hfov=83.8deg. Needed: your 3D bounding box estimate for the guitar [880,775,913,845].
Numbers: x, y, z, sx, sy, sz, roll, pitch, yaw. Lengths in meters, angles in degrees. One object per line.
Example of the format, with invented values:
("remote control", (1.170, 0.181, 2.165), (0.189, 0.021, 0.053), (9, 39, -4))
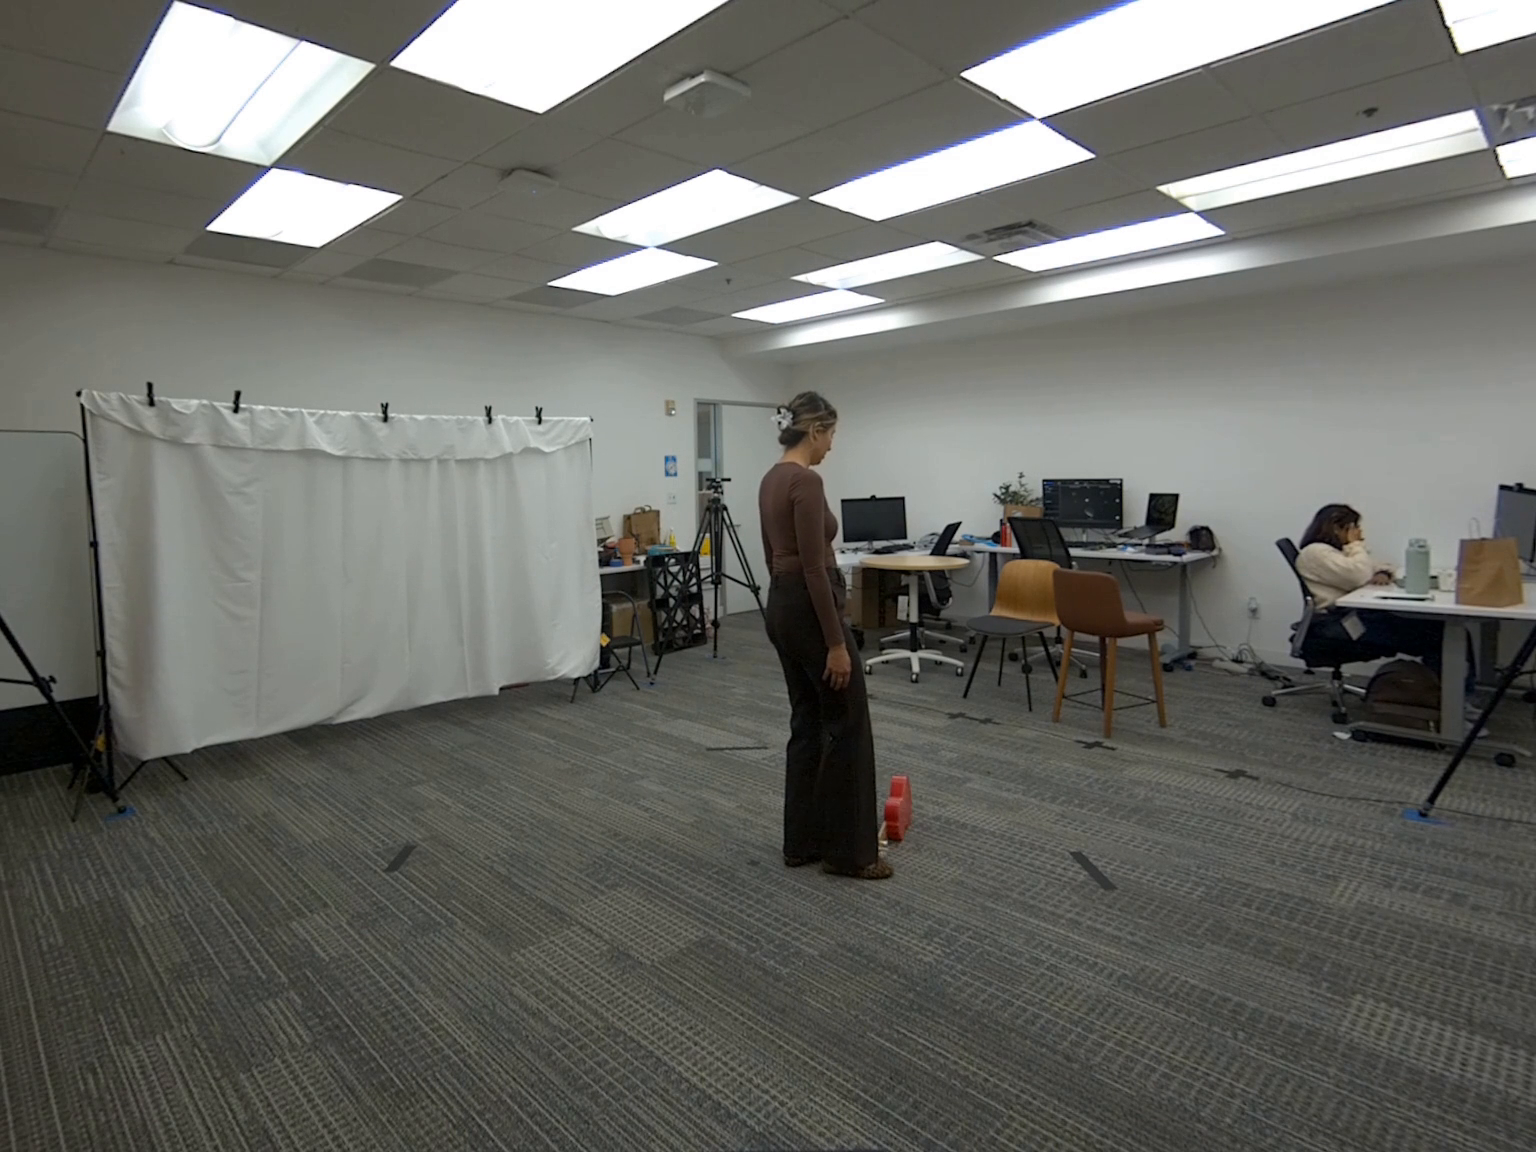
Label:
("guitar", (0.477, 0.971, 3.274), (0.072, 0.189, 0.498), (-2, 22, 20))
